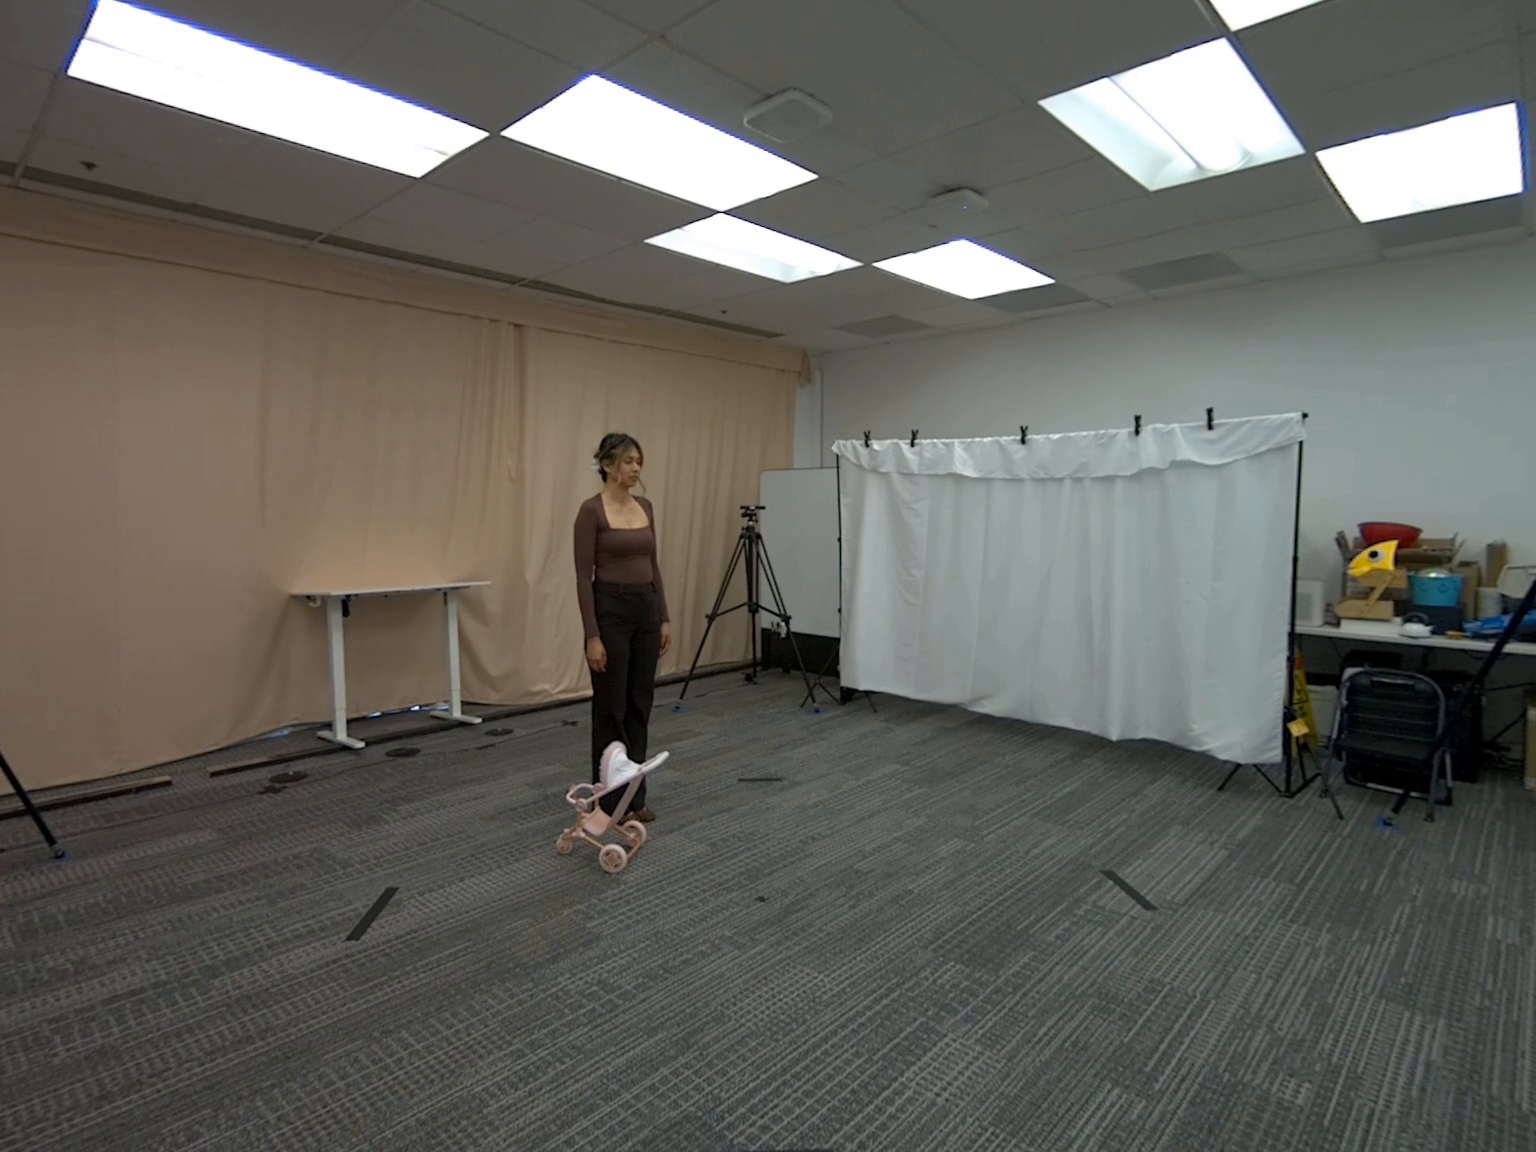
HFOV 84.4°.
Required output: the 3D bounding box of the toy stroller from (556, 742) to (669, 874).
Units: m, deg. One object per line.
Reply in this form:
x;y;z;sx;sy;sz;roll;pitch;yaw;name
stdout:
-0.632;0.899;3.340;0.348;0.534;0.277;18;7;15;toy stroller
